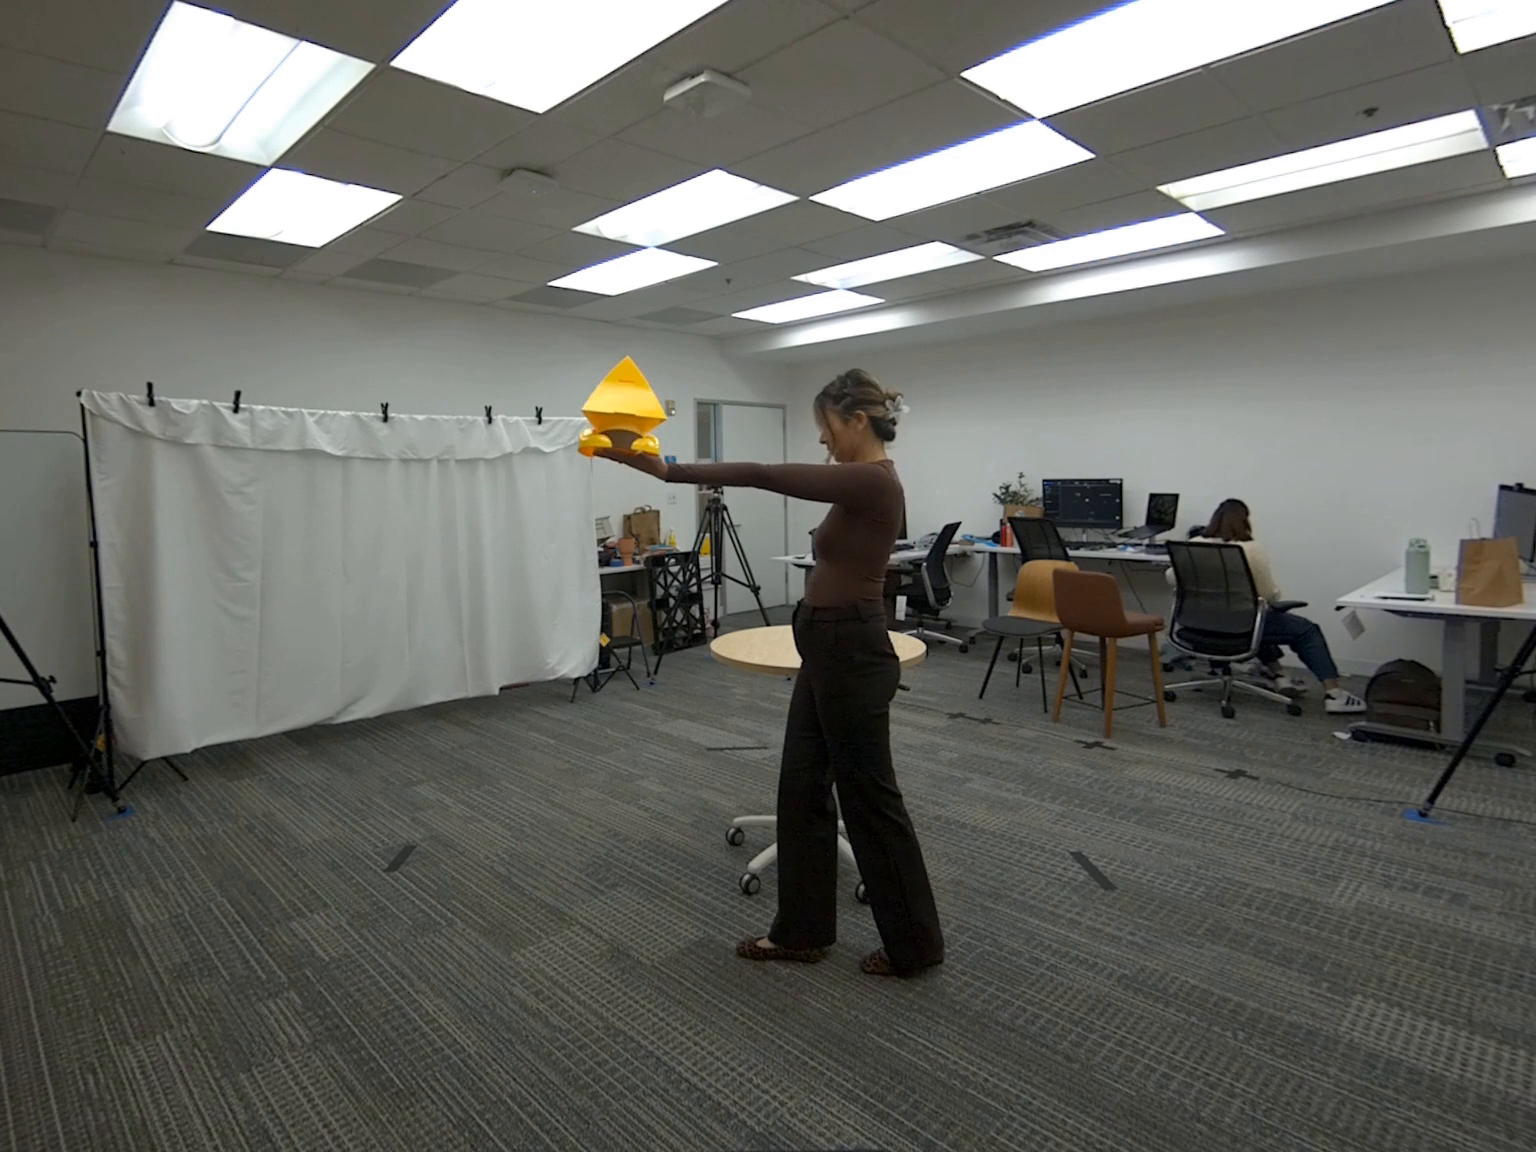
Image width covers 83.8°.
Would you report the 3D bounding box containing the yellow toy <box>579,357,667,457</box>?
[{"bbox_3d":[-0.357,-0.419,2.122,0.202,0.232,0.195,4,-6,-14],"label":"yellow toy"}]
